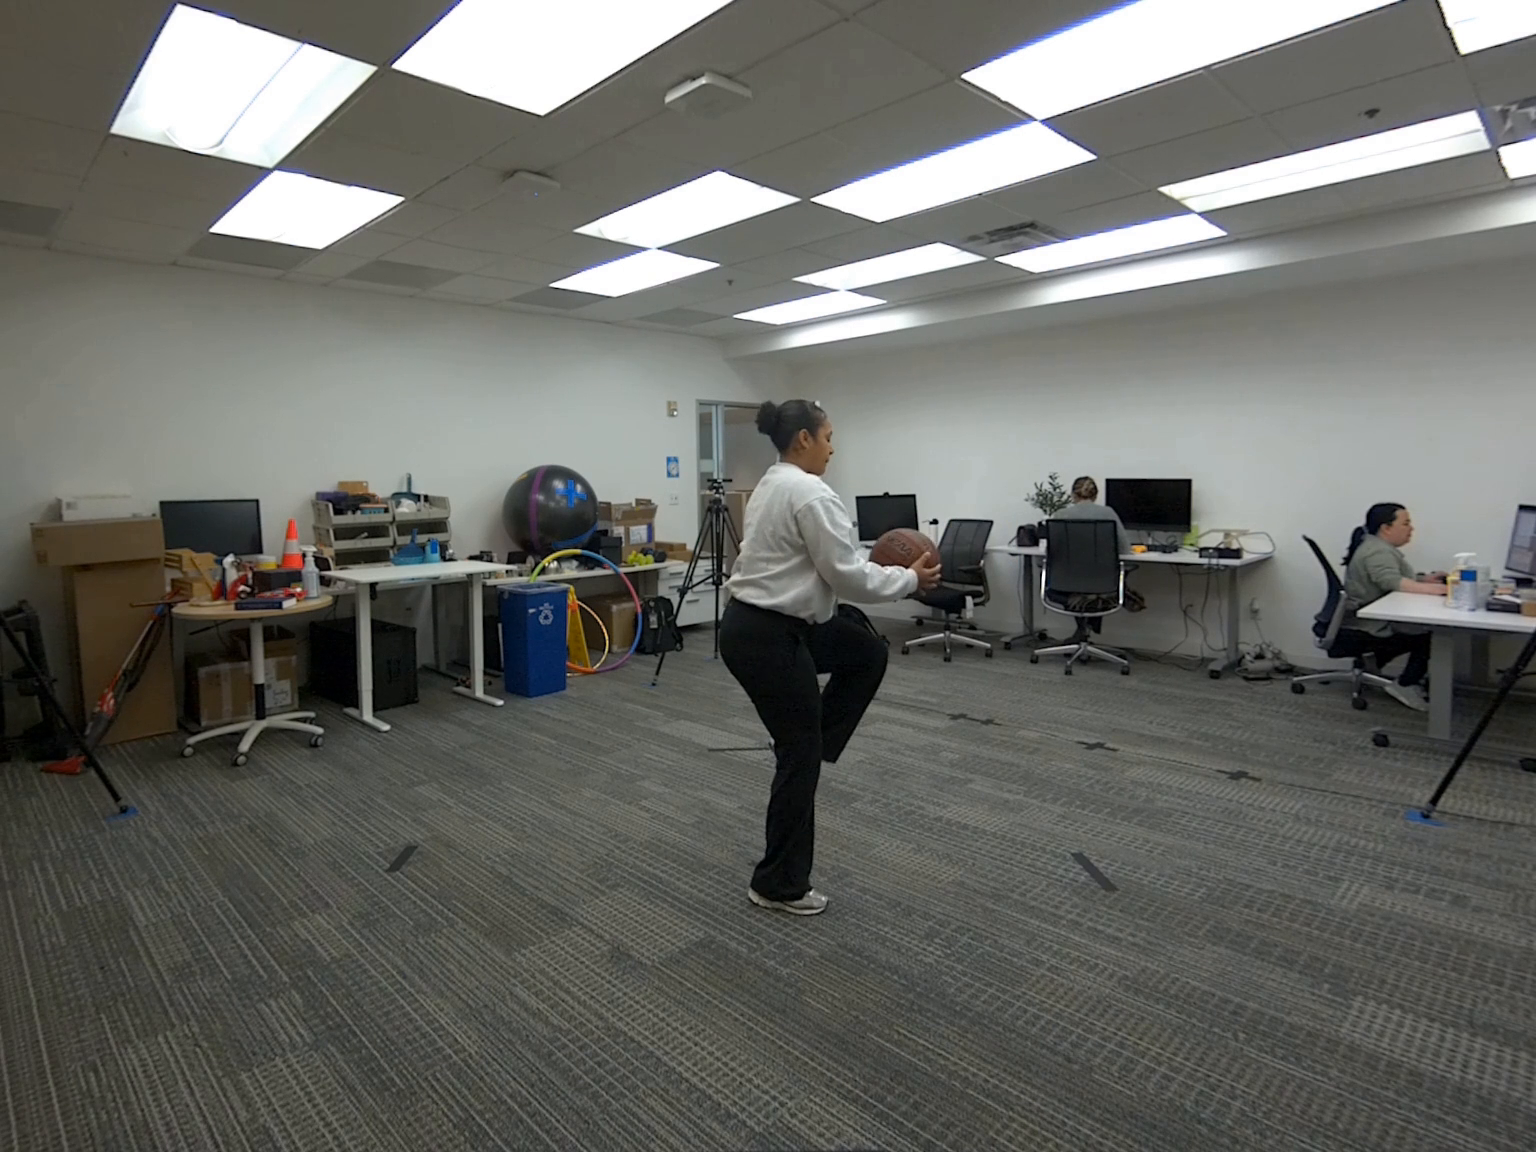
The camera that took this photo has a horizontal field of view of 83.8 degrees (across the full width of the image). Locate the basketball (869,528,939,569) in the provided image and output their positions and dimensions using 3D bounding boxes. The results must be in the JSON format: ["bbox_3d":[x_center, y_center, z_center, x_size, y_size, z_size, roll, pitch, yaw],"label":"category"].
[{"bbox_3d":[0.472,-0.048,2.868,0.236,0.235,0.237,-1,5,-2],"label":"basketball"}]
